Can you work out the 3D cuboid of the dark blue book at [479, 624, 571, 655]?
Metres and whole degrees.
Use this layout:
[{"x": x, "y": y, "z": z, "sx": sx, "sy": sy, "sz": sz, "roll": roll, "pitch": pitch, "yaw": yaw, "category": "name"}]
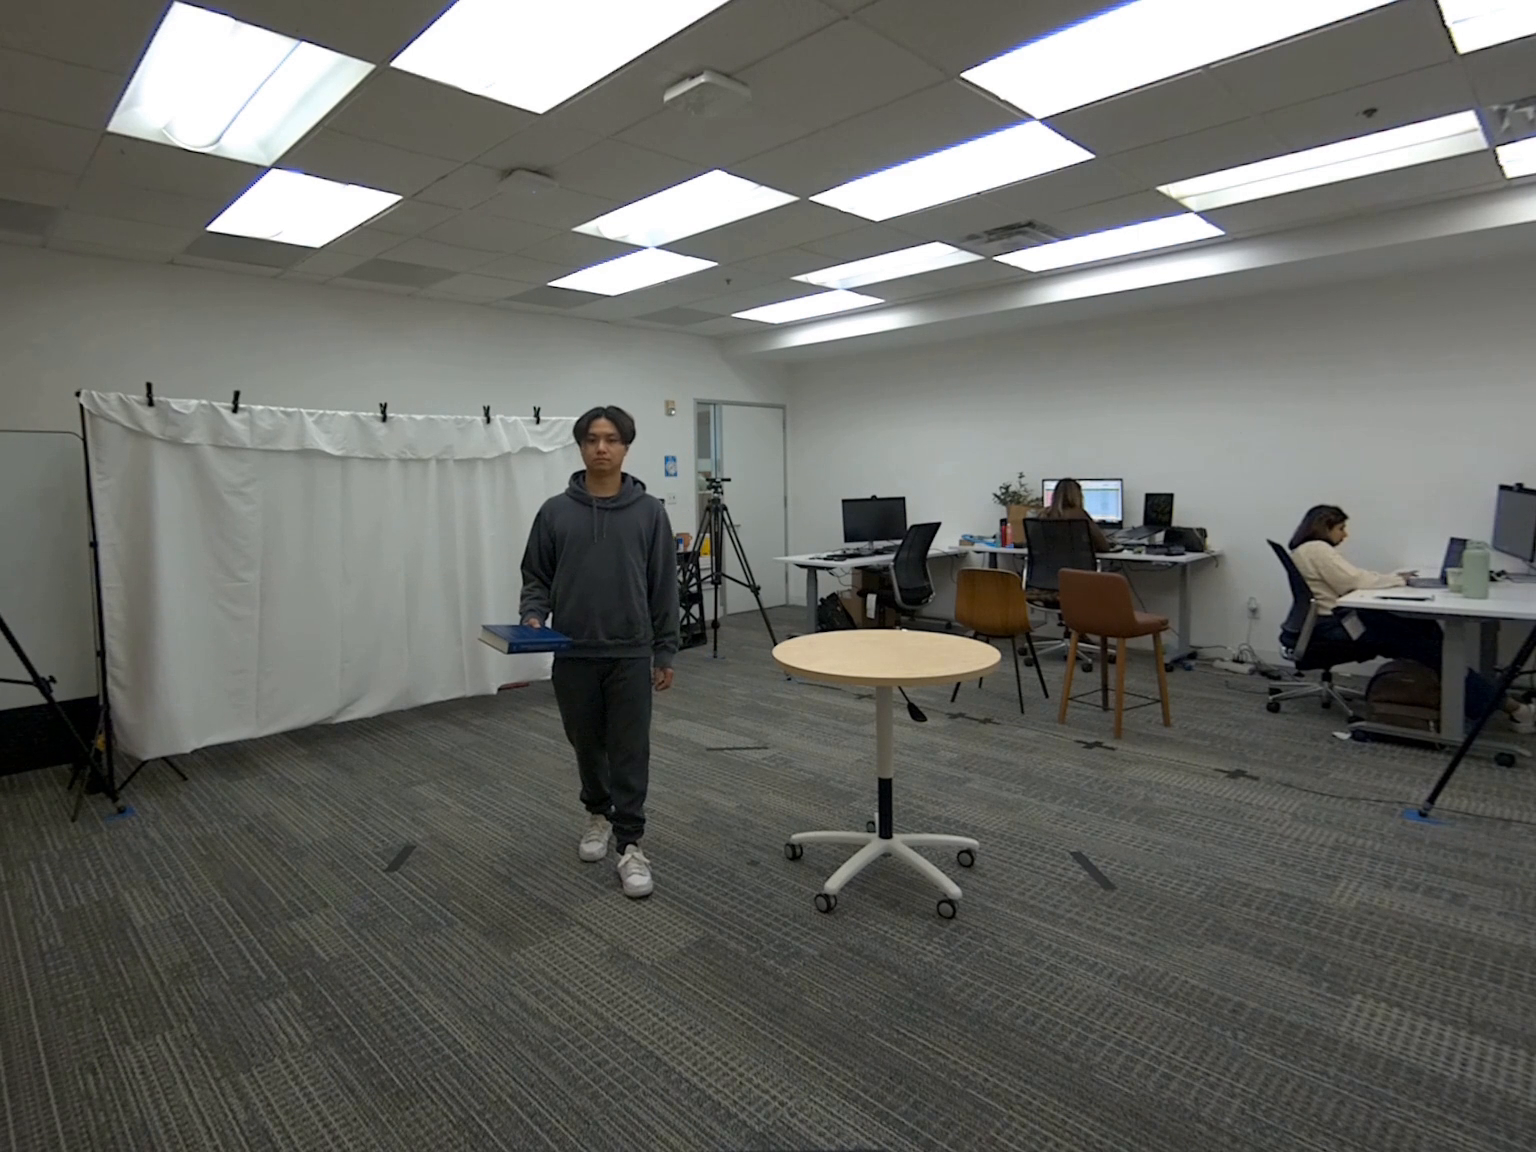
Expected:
[{"x": -0.769, "y": 0.205, "z": 2.728, "sx": 0.169, "sy": 0.045, "sz": 0.238, "roll": 18, "pitch": 9, "yaw": 37, "category": "dark blue book"}]
